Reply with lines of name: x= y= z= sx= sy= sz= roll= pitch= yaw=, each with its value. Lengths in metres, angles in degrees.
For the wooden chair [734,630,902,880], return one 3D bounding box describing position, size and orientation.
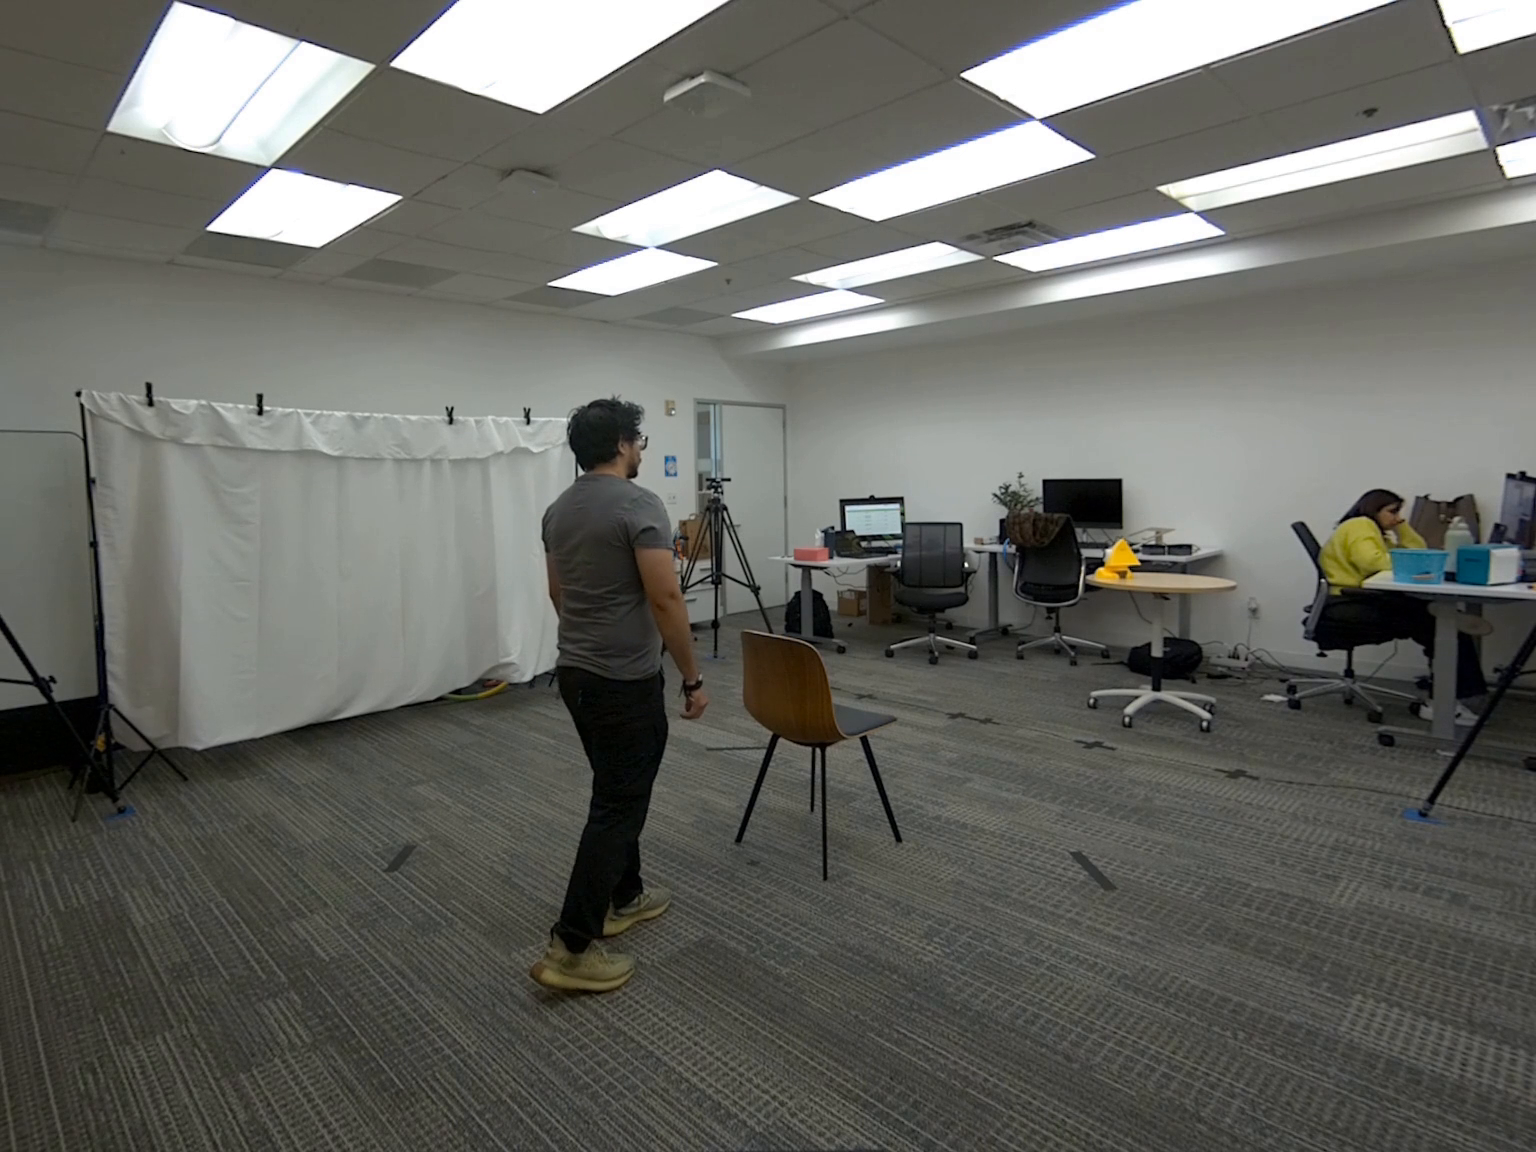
wooden chair: x=0.193 y=0.595 z=3.244 sx=0.511 sy=0.871 sz=0.493 roll=-11 pitch=10 yaw=-44
